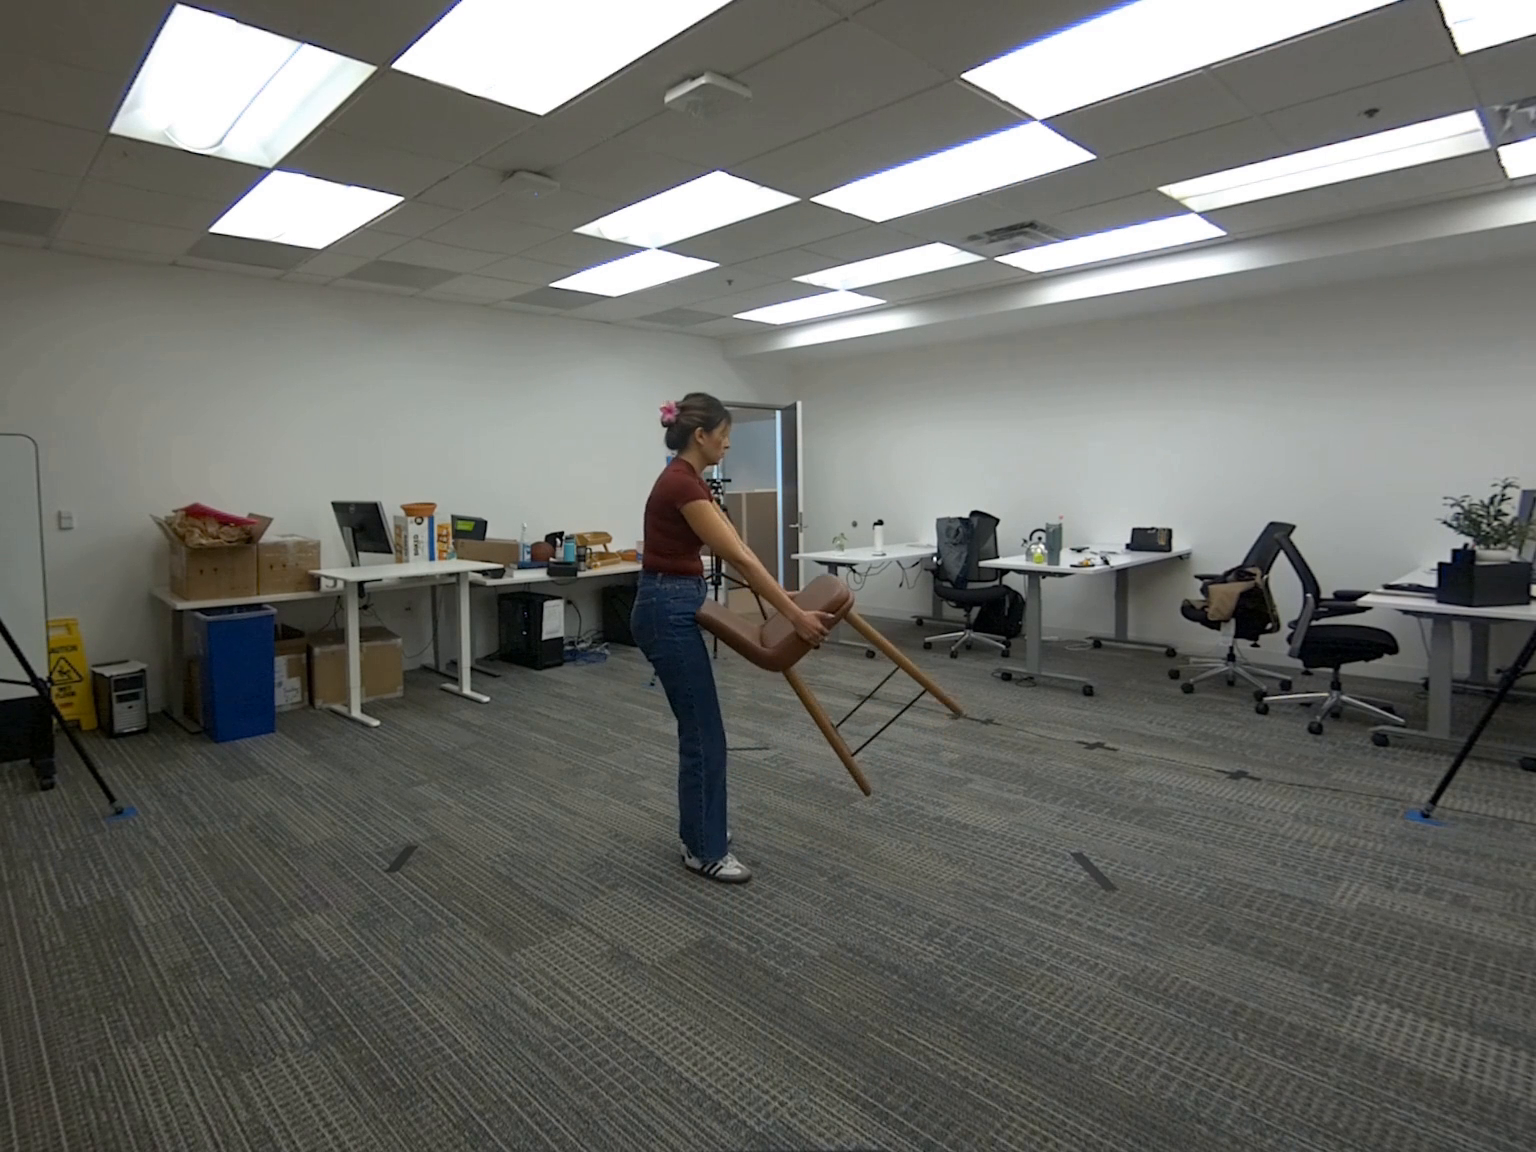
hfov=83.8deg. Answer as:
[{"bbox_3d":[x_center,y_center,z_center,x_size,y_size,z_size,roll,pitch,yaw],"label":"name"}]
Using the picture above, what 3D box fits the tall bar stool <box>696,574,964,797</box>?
[{"bbox_3d":[0.192,0.283,3.092,0.467,0.883,0.460,-45,6,3],"label":"tall bar stool"}]
